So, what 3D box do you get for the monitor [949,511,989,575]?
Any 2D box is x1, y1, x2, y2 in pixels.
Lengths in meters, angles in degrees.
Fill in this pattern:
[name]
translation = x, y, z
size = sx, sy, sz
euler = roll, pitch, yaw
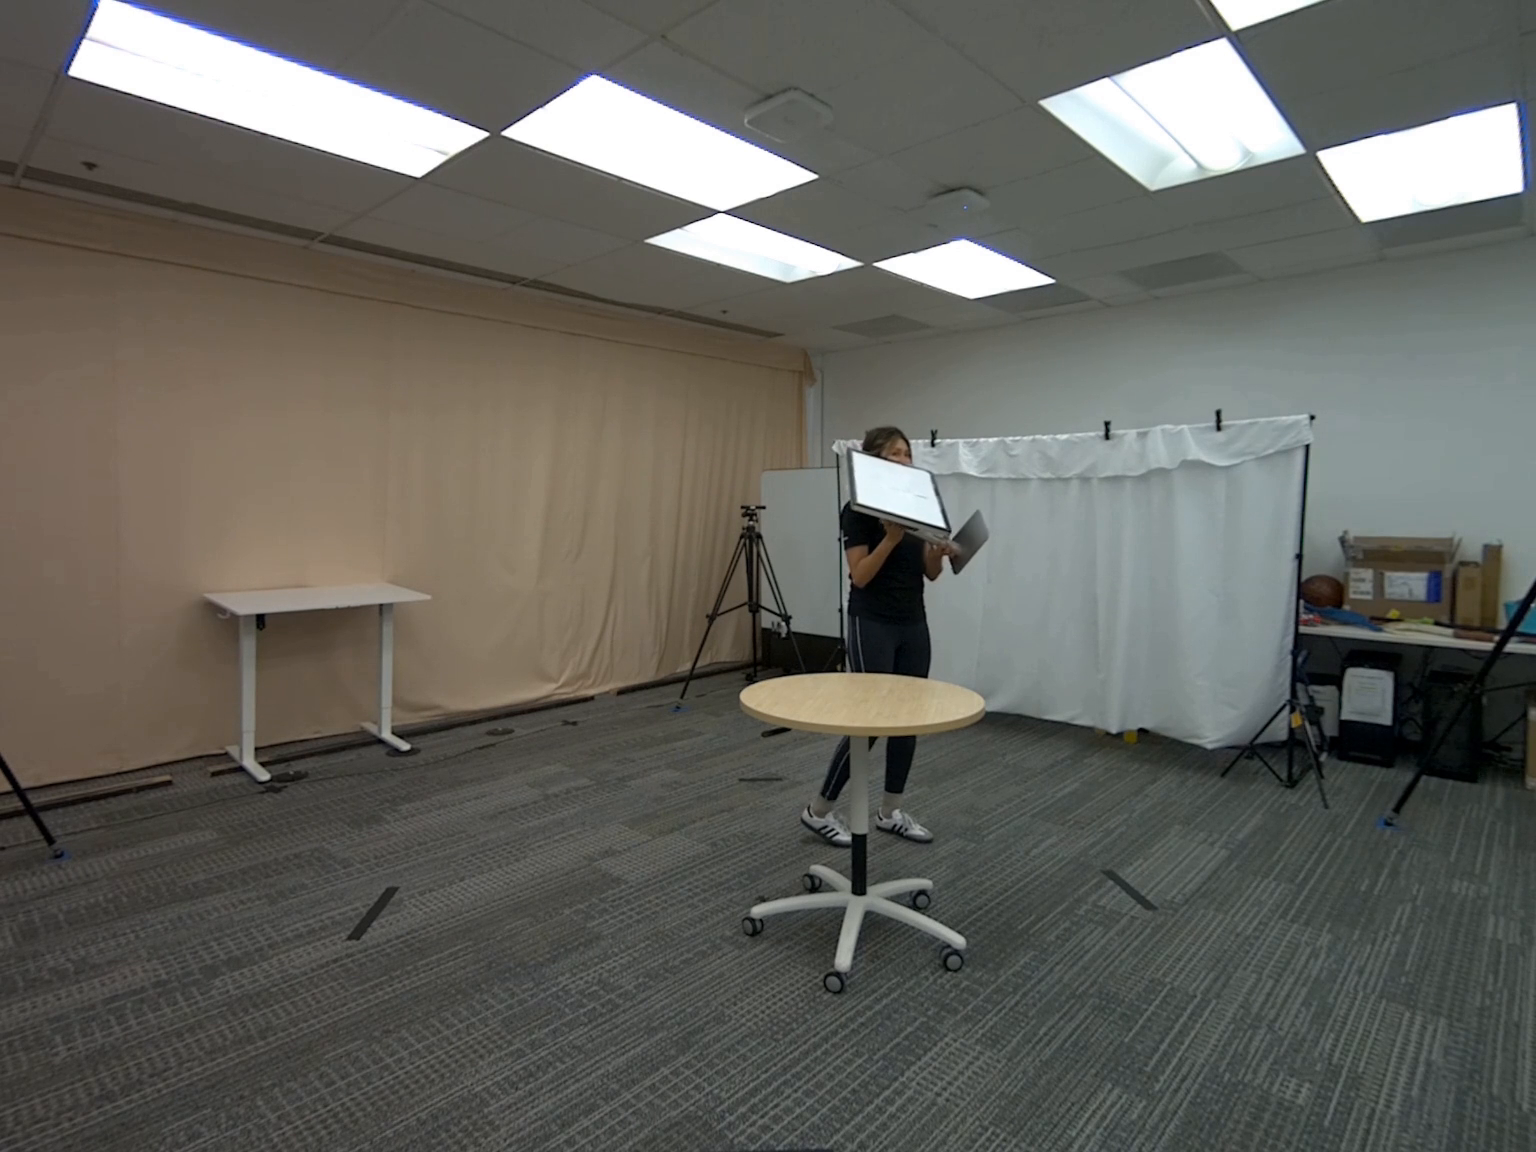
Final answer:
[monitor]
translation = 0.554, -0.252, 3.205
size = 0.517, 0.187, 0.544
euler = 28, 26, -9
